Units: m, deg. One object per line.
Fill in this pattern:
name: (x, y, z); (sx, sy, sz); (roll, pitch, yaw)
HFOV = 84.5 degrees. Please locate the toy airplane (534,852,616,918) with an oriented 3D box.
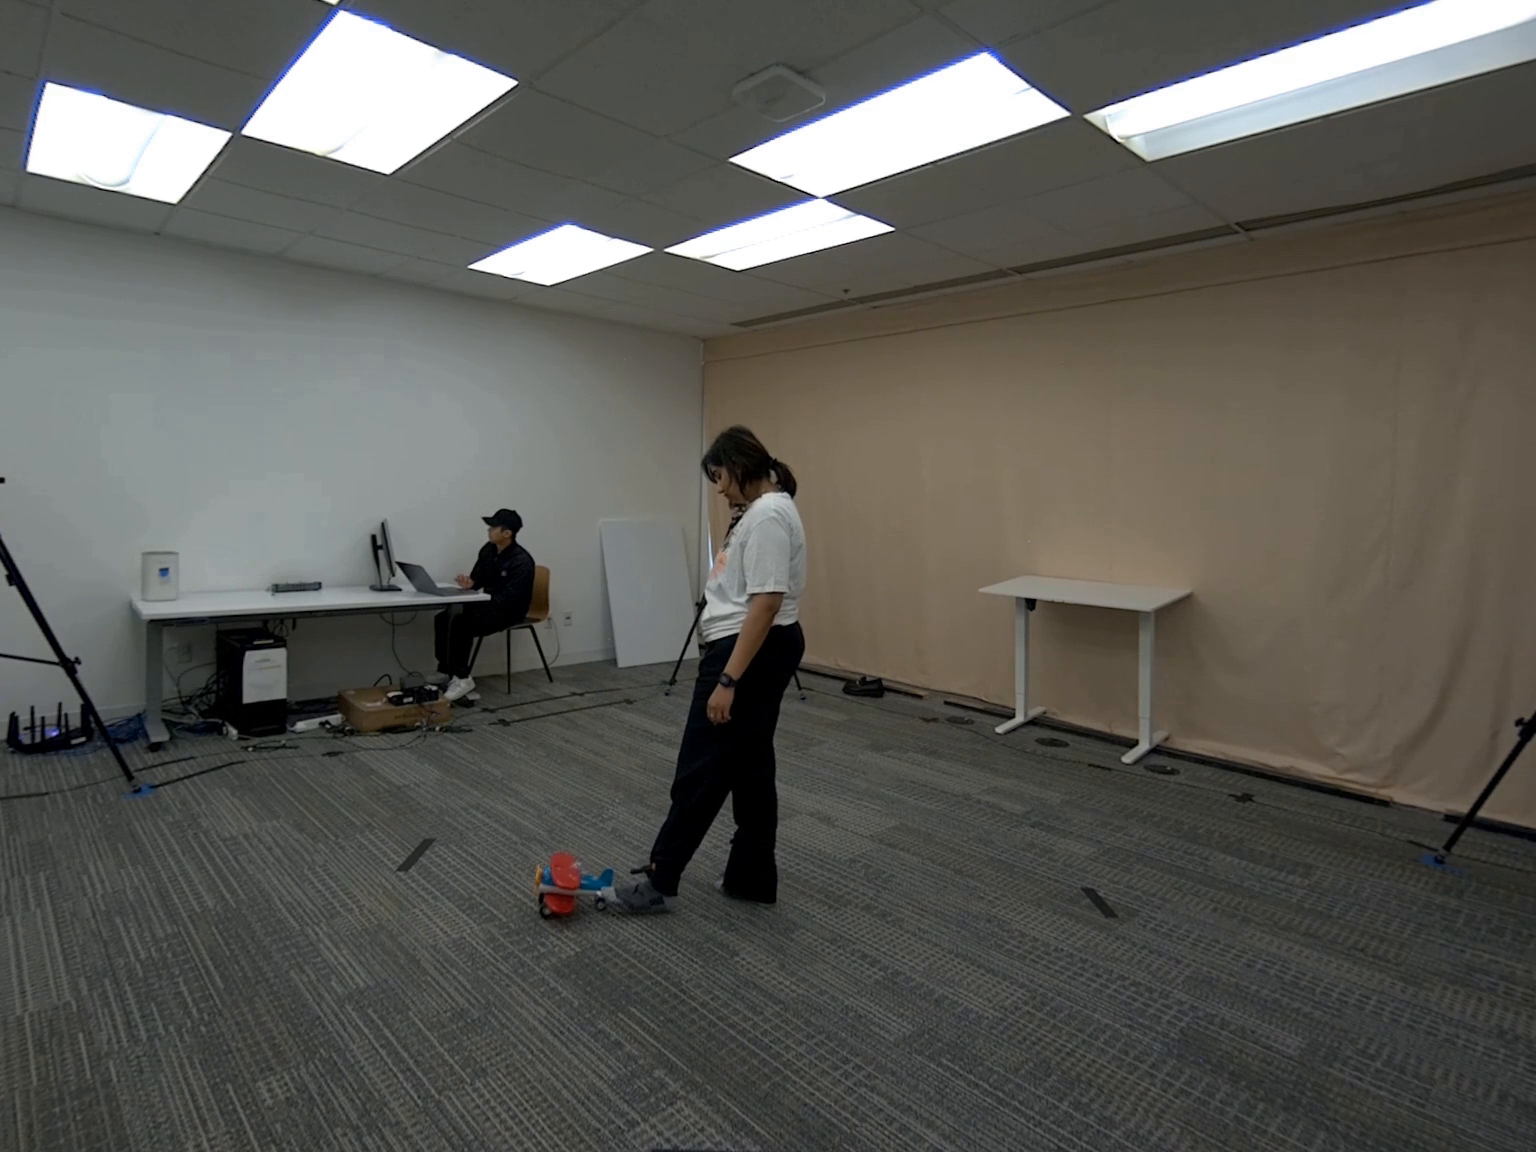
toy airplane: (-0.664, 1.041, 2.835); (0.253, 0.156, 0.257); (-4, 7, -42)
